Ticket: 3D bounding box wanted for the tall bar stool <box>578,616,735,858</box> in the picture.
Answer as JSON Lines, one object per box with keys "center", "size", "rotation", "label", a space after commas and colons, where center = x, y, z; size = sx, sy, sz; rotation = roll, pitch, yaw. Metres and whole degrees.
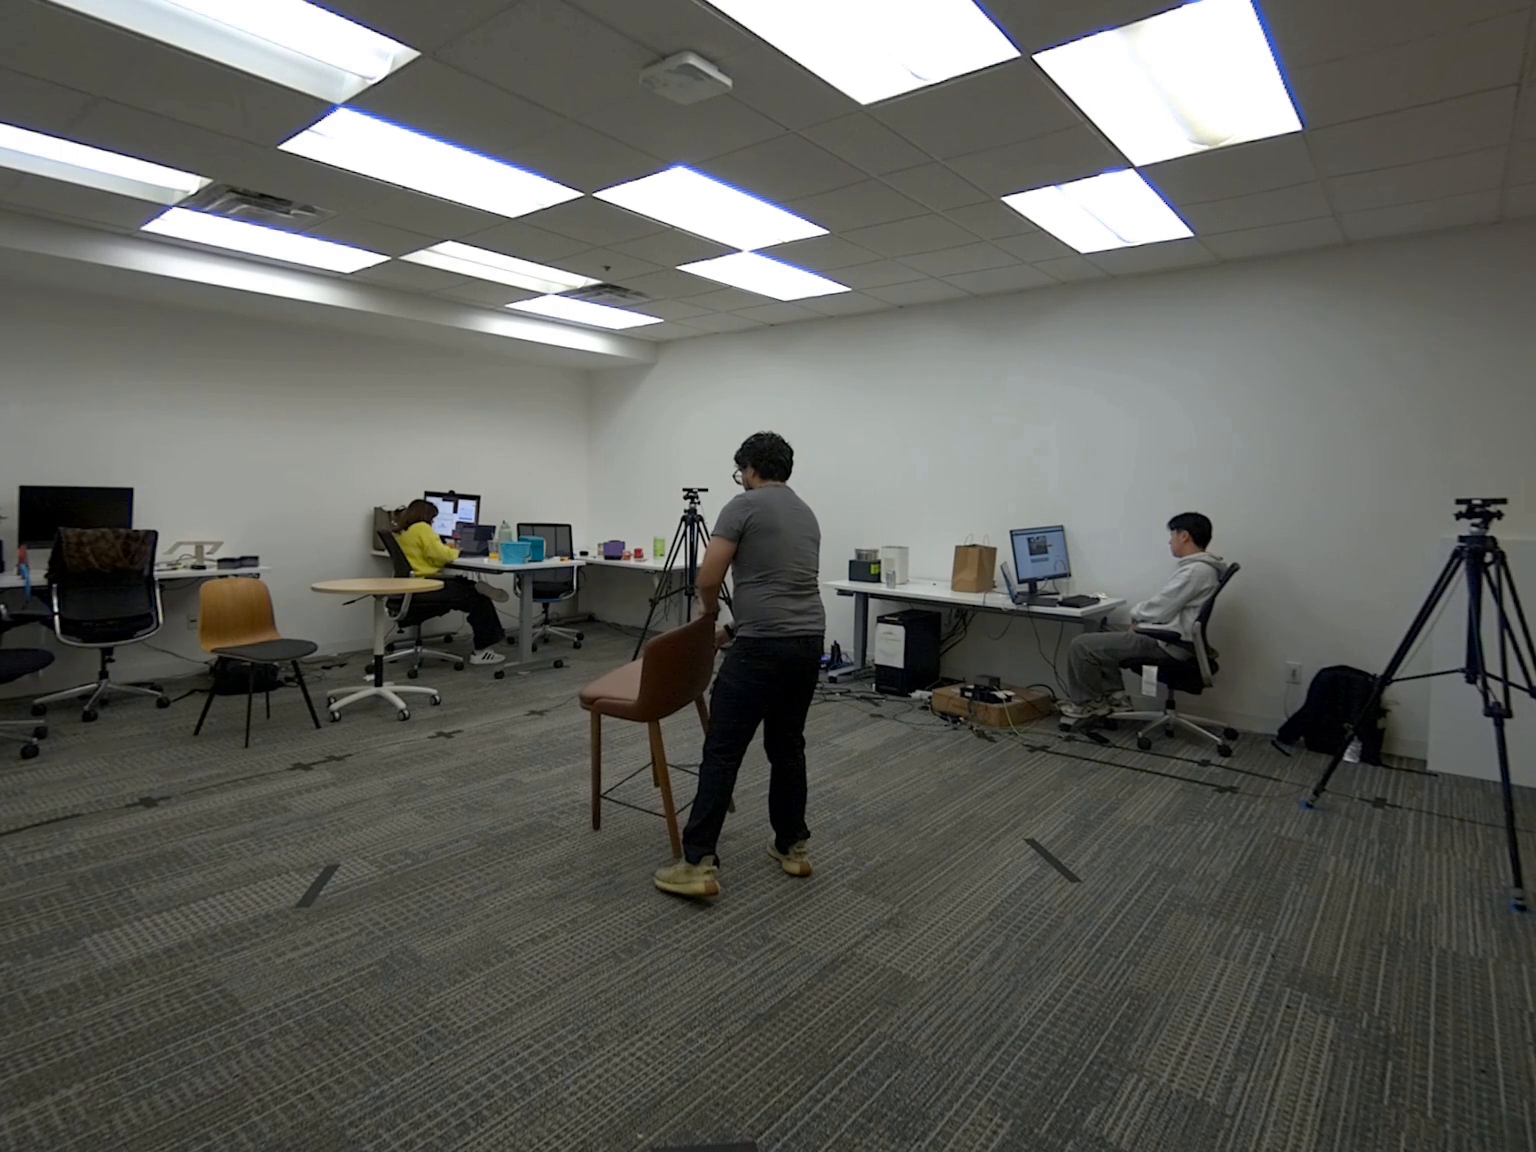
{"center": [-0.462, 0.575, 3.383], "size": [0.483, 0.878, 0.448], "rotation": [6, 17, 36], "label": "tall bar stool"}
